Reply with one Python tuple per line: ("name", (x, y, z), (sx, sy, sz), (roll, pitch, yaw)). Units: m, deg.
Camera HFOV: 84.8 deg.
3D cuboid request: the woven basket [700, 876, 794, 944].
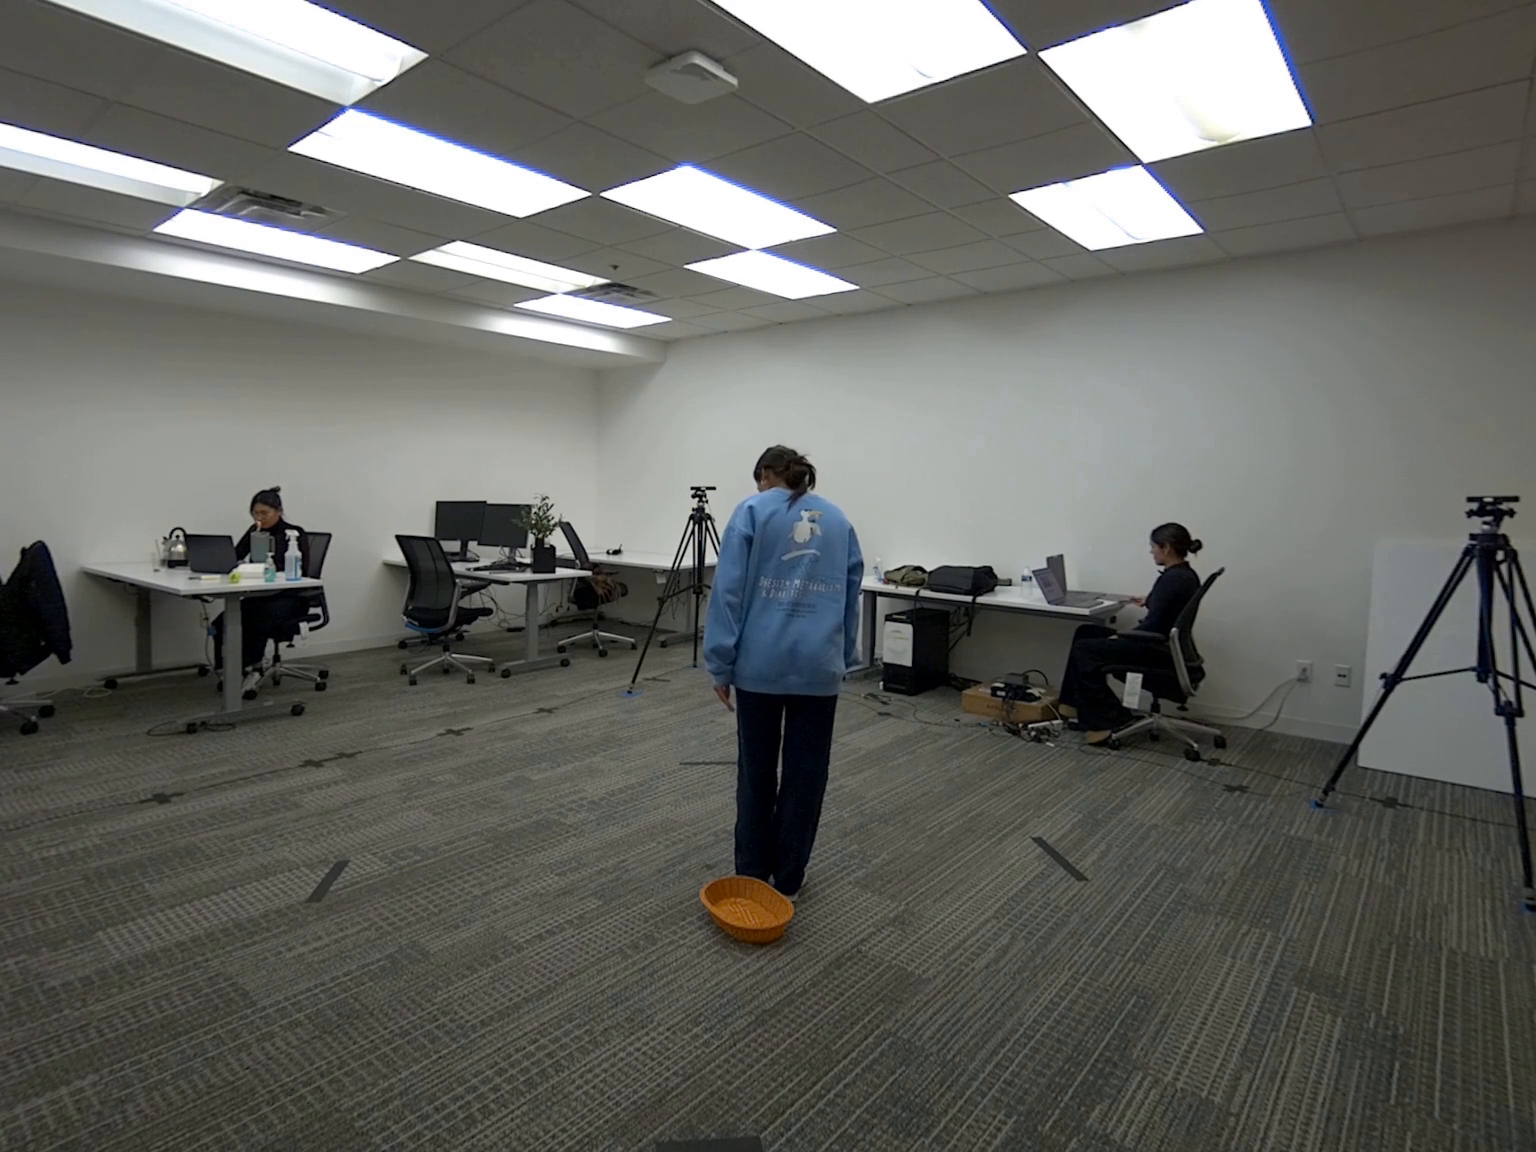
("woven basket", (-0.076, 1.067, 2.724), (0.246, 0.073, 0.361), (-3, 7, -29))
